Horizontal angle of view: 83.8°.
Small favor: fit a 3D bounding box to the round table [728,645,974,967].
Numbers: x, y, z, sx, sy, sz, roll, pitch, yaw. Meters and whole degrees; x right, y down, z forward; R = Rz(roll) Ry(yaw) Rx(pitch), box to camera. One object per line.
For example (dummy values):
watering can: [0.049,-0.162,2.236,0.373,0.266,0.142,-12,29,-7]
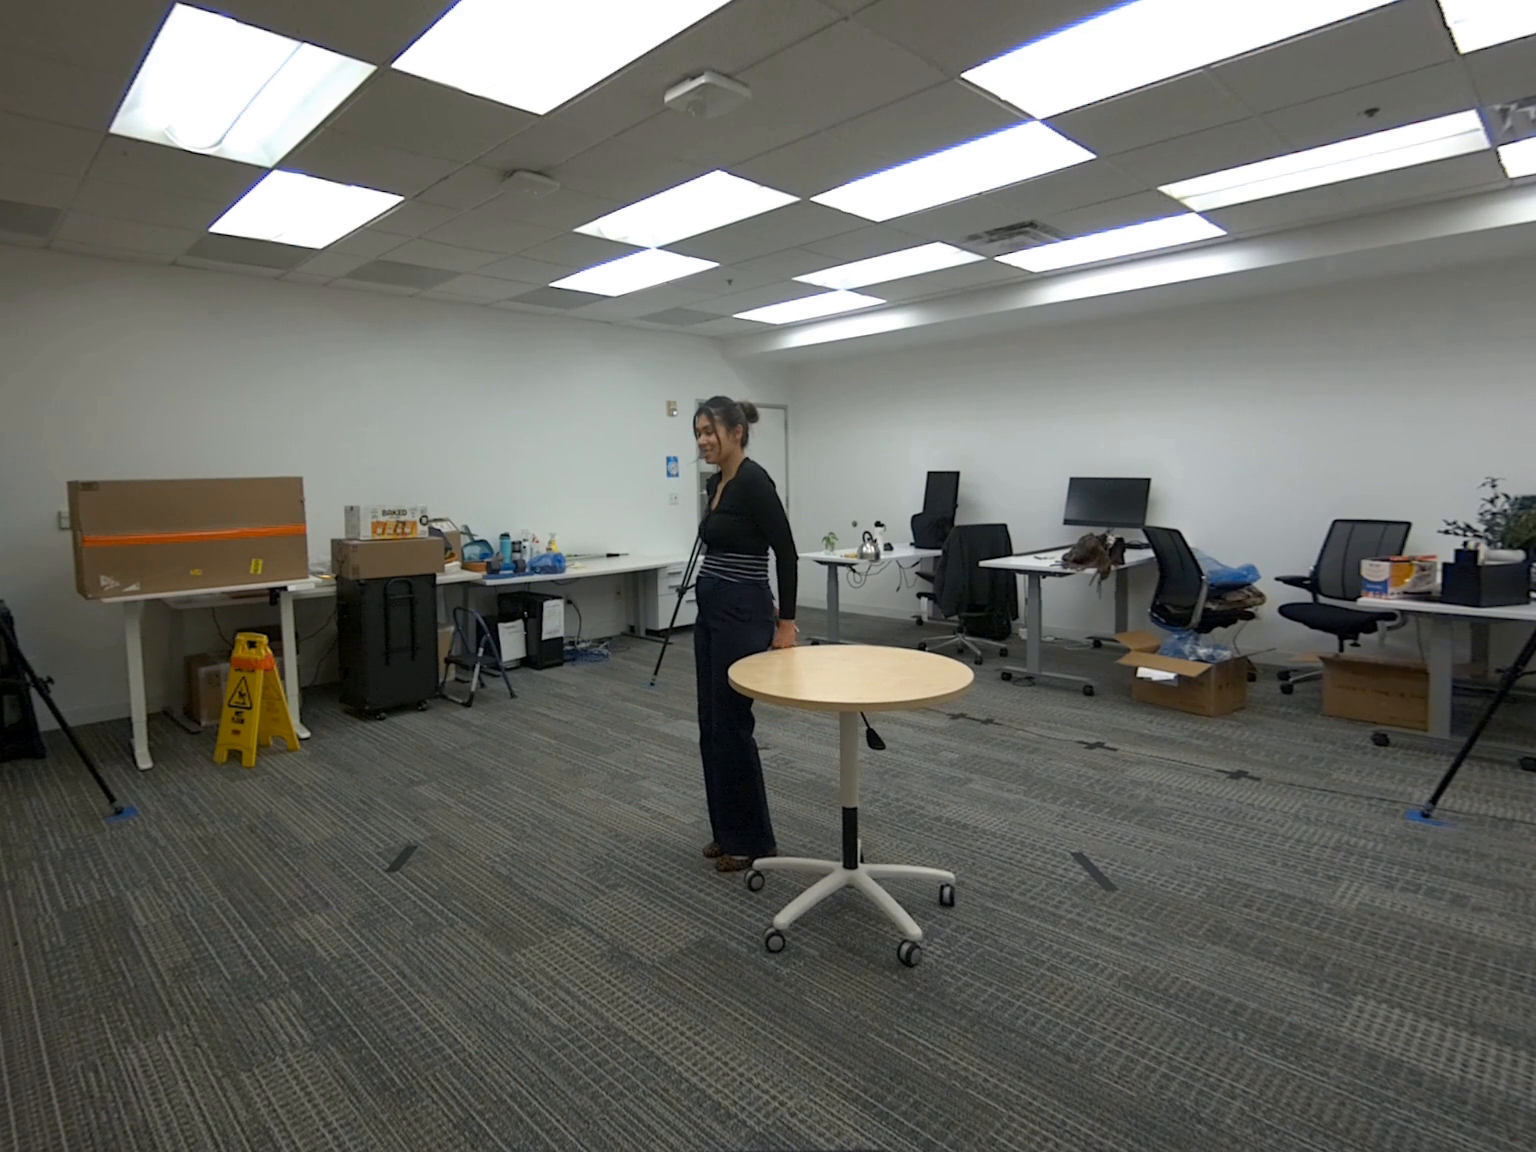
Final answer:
round table: [0.267,0.693,2.734,0.763,0.790,0.768,-1,5,-2]
